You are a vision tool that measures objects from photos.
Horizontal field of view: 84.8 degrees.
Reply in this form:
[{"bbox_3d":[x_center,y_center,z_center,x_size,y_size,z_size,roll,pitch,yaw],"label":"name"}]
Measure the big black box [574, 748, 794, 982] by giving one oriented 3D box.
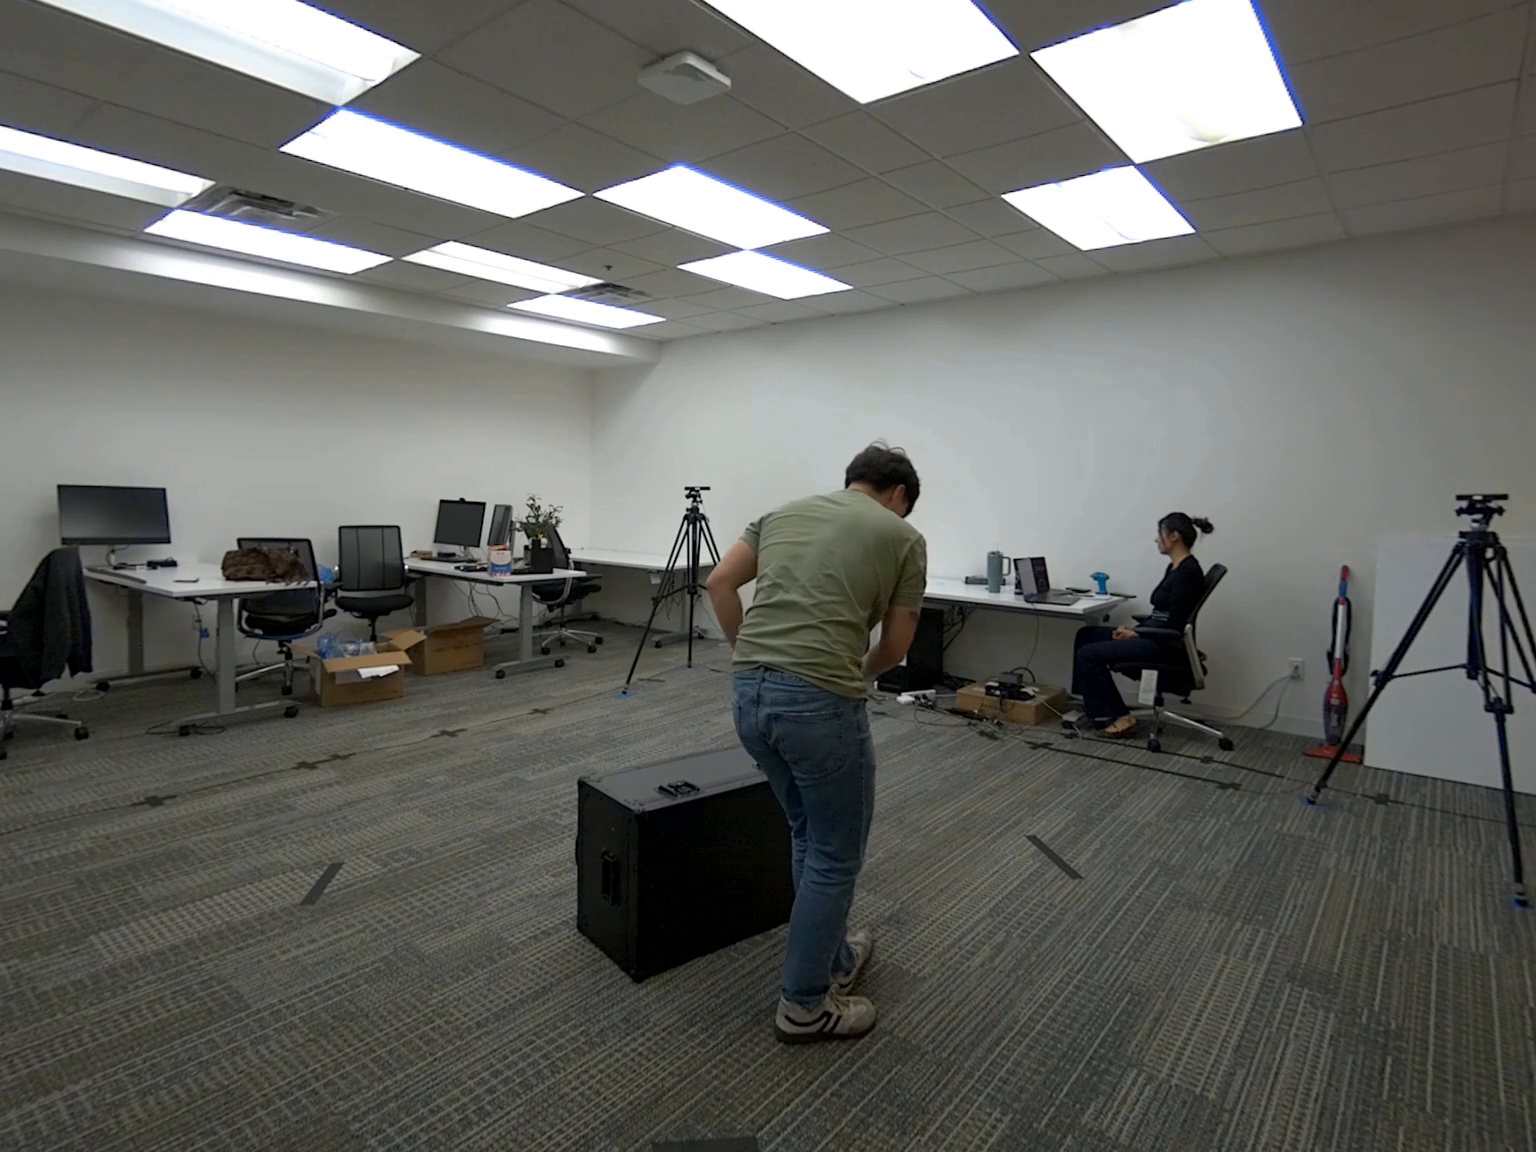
[{"bbox_3d":[-0.174,0.859,2.766,0.836,0.520,0.409,-2,5,-38],"label":"big black box"}]
